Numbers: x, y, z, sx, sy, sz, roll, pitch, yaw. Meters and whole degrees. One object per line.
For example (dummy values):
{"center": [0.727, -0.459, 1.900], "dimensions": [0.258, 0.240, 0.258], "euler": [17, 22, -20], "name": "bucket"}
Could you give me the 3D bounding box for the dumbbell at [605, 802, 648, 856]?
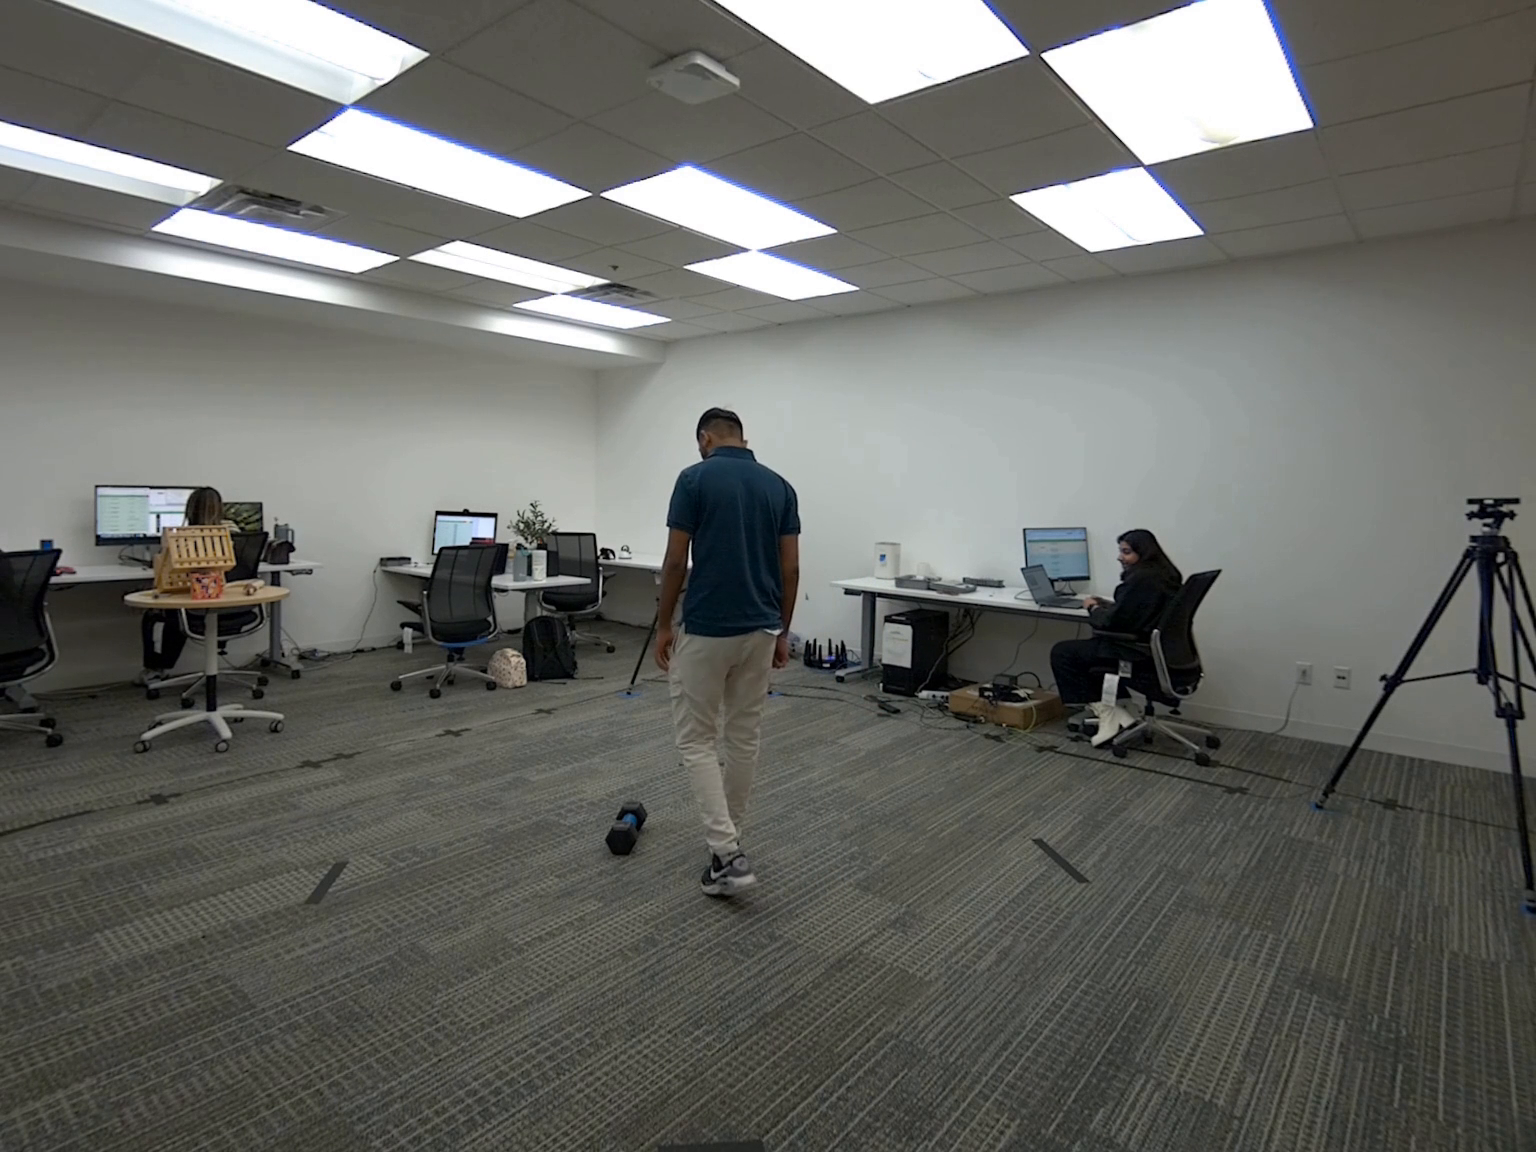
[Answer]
{"center": [-0.564, 0.984, 3.348], "dimensions": [0.109, 0.123, 0.294], "euler": [30, 5, -1], "name": "dumbbell"}
